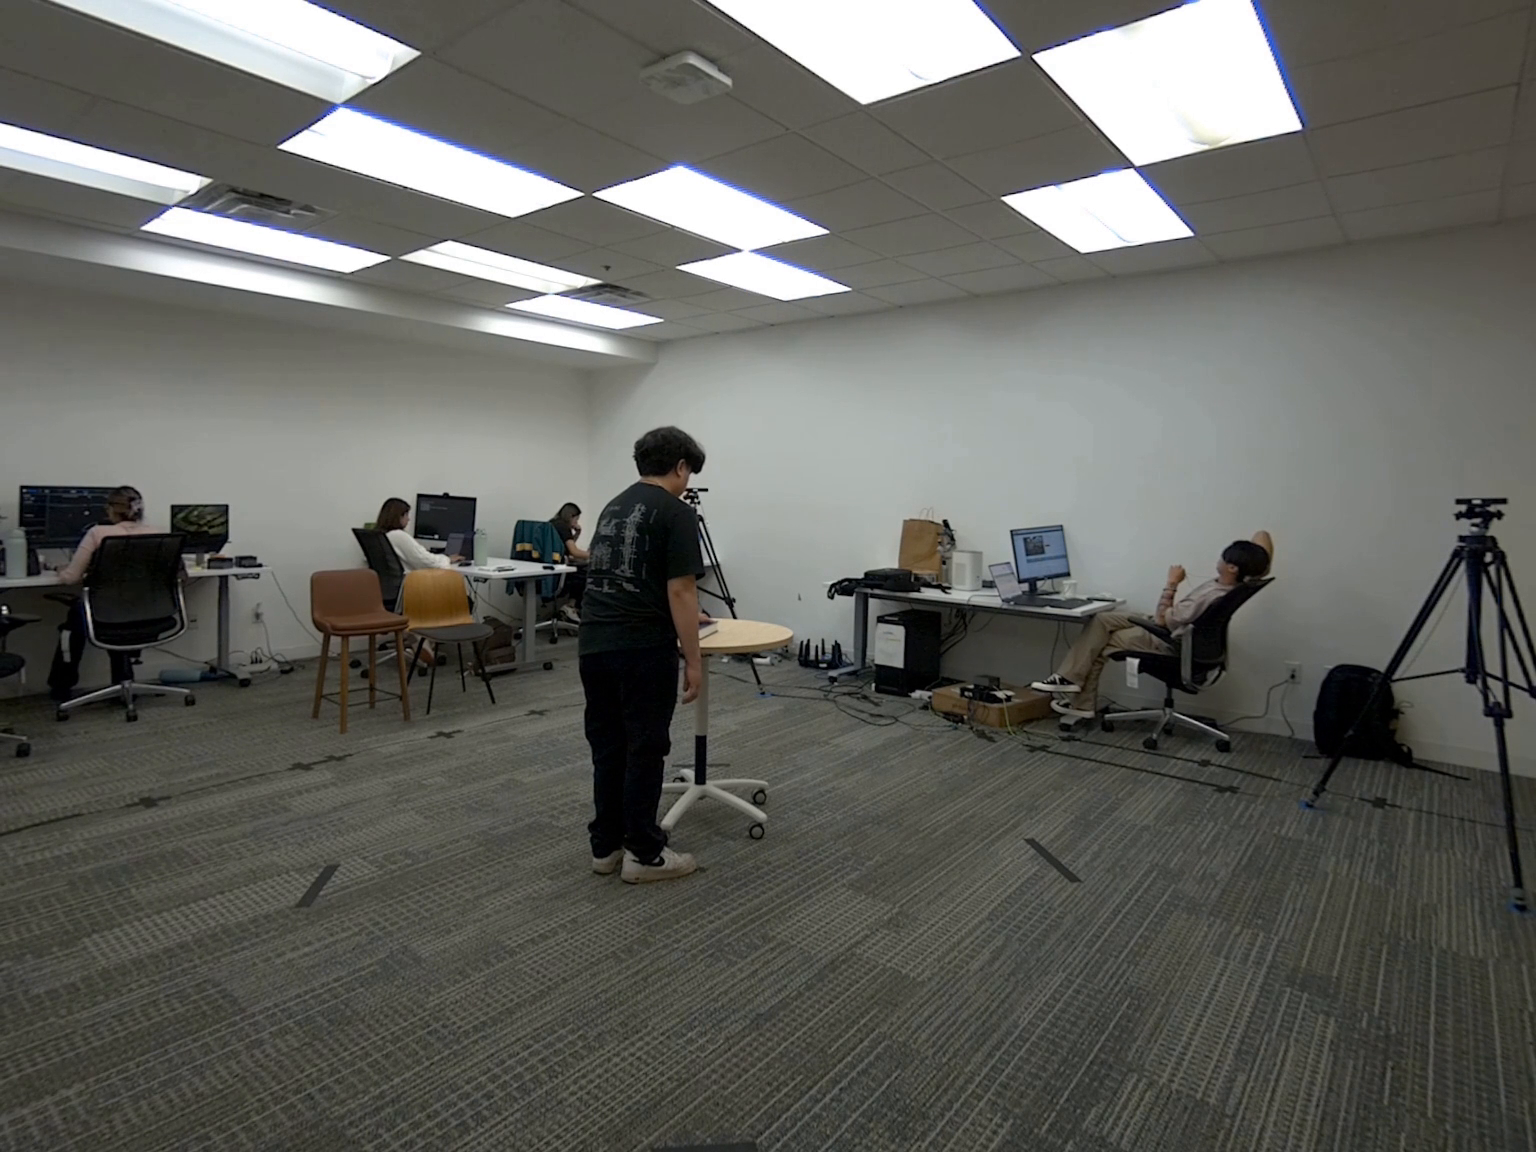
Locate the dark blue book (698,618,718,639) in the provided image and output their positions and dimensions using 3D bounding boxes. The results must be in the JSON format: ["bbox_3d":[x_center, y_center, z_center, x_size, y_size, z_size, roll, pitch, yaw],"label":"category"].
[{"bbox_3d":[-0.320,0.216,3.505,0.166,0.045,0.241,1,5,16],"label":"dark blue book"}]
